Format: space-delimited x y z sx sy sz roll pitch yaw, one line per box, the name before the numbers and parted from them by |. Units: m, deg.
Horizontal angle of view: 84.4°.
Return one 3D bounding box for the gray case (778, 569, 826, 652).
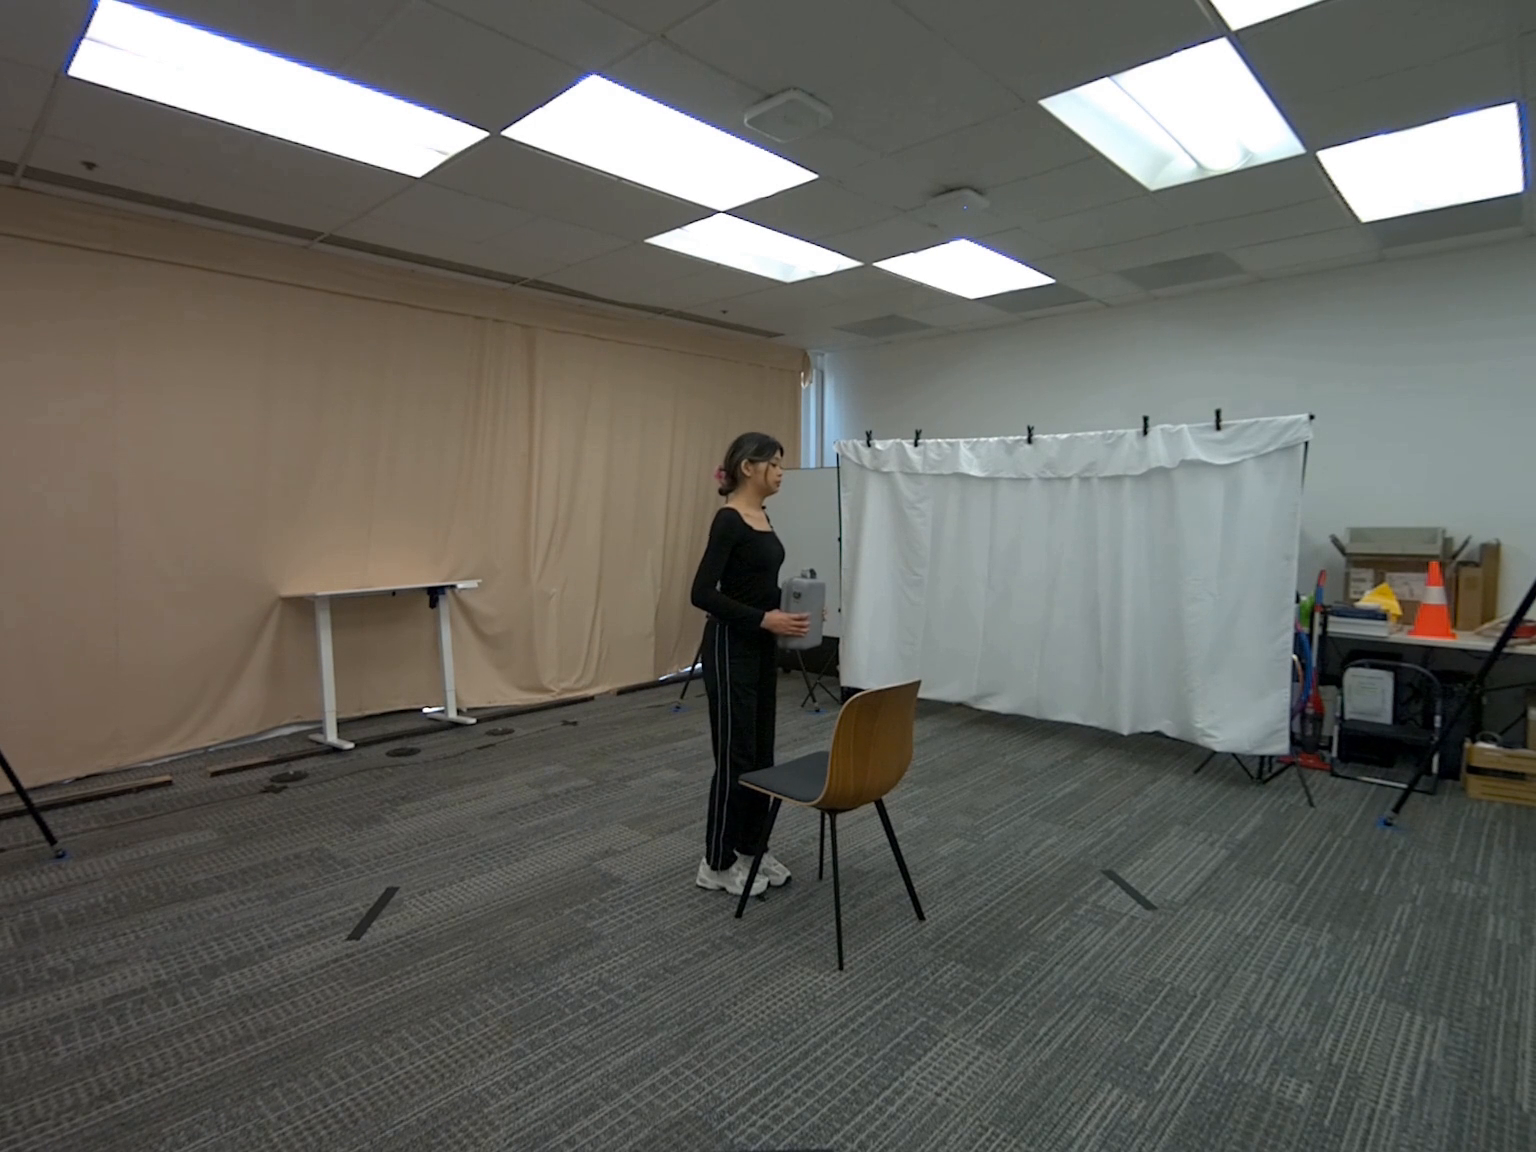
gray case | 0.124 0.133 3.027 0.107 0.260 0.251 7 3 22
